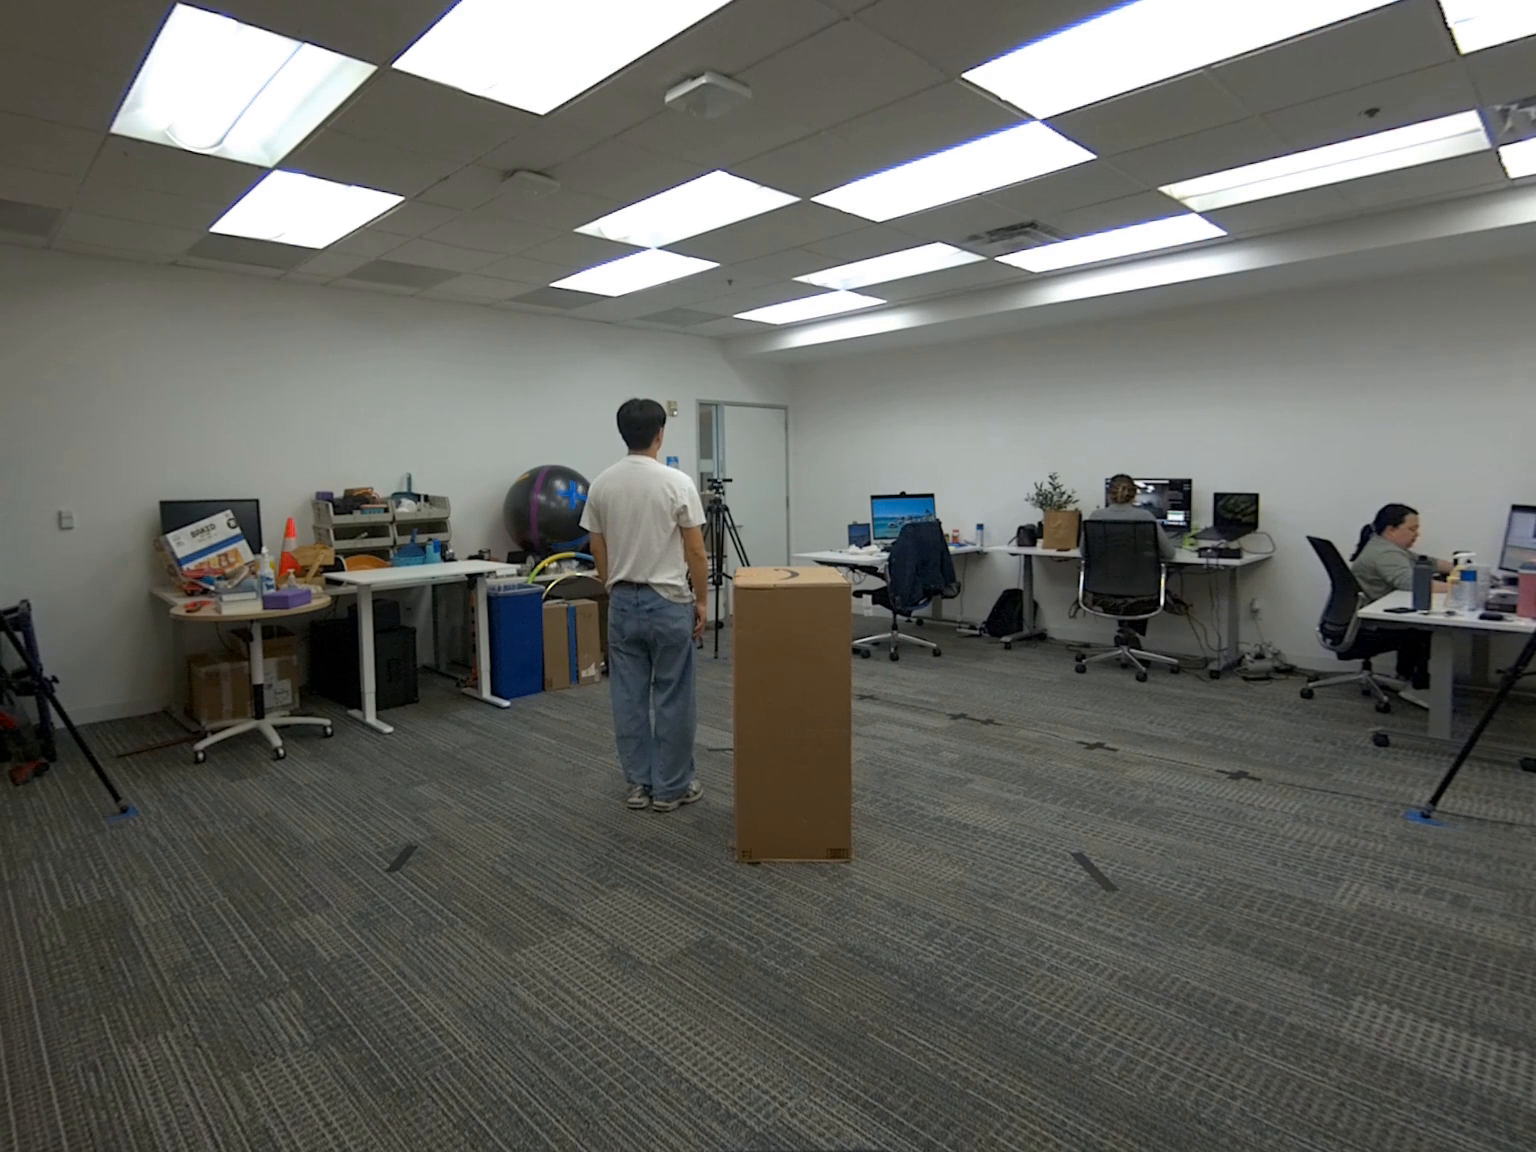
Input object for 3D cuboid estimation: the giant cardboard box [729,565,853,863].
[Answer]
[{"bbox_3d":[0.083,0.503,3.352,0.427,1.022,0.579,-1,4,1],"label":"giant cardboard box"}]
